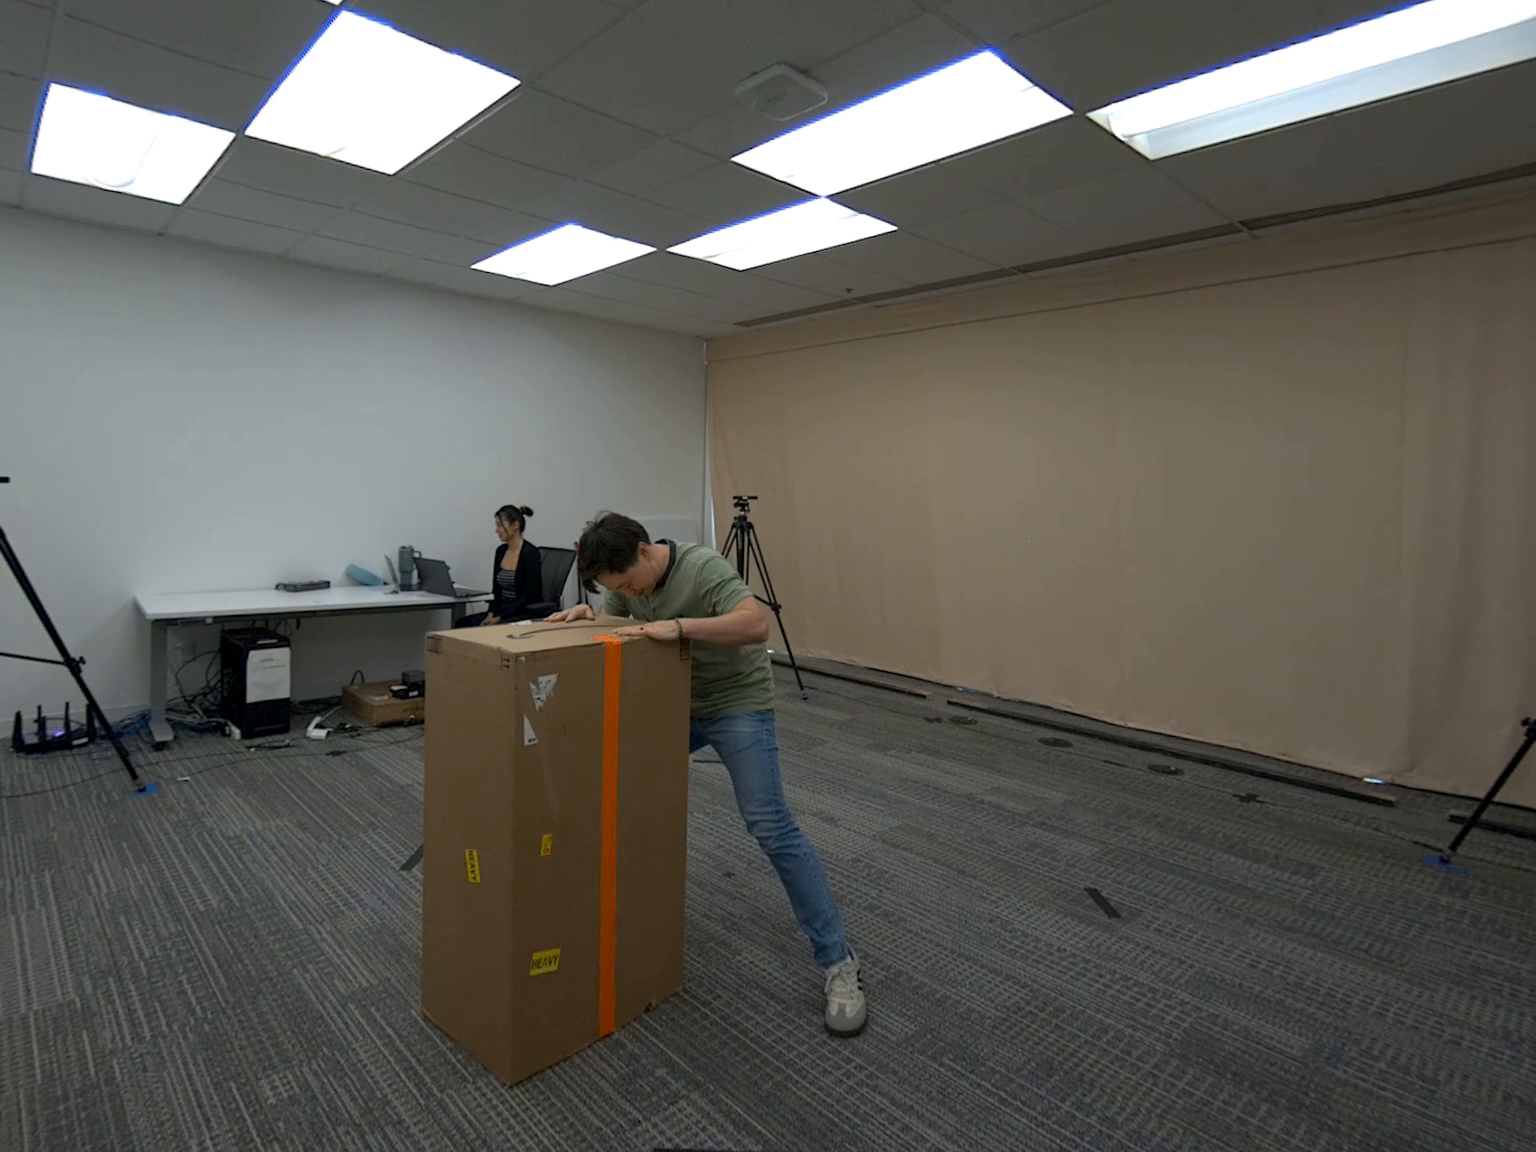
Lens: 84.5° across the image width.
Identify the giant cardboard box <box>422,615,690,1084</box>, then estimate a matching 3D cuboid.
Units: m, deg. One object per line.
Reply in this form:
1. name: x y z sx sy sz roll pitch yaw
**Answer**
1. giant cardboard box: -0.574 0.668 2.277 0.437 1.023 0.564 4 4 41
